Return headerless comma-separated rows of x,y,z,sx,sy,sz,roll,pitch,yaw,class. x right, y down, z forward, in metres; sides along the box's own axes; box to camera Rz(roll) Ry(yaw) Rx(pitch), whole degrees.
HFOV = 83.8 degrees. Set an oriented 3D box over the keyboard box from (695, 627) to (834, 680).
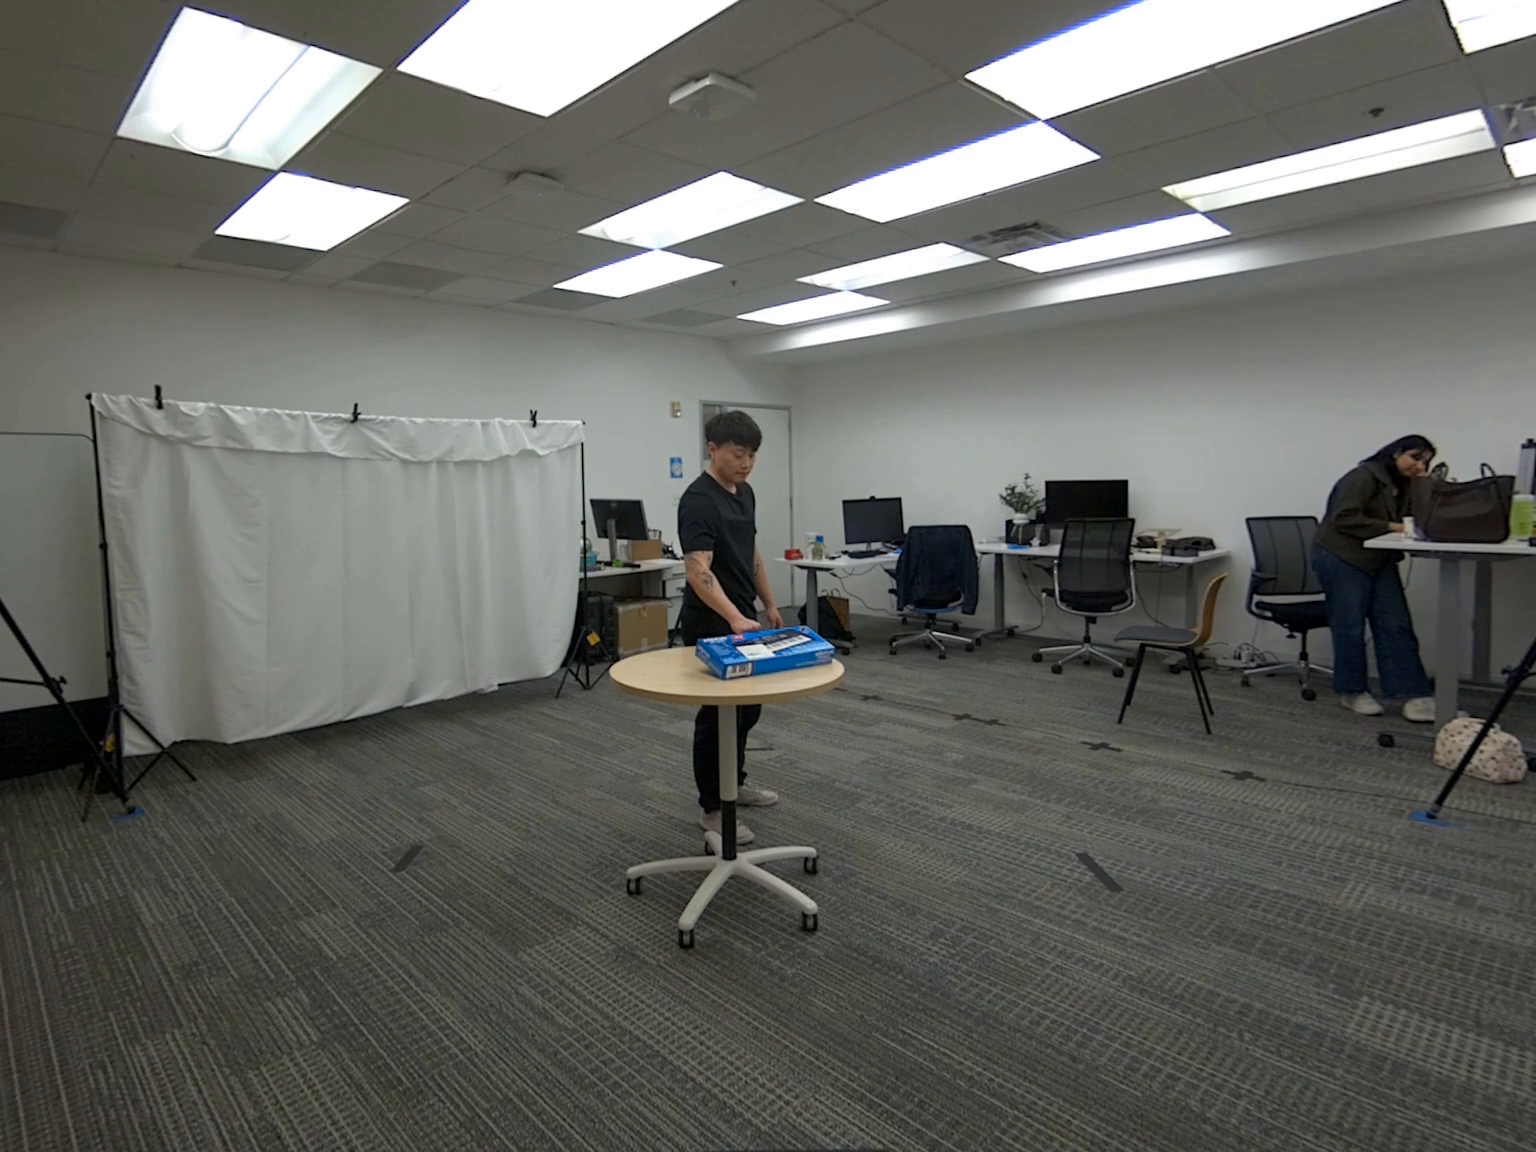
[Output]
0.003,0.248,2.780,0.426,0.058,0.183,-5,23,-34,keyboard box
